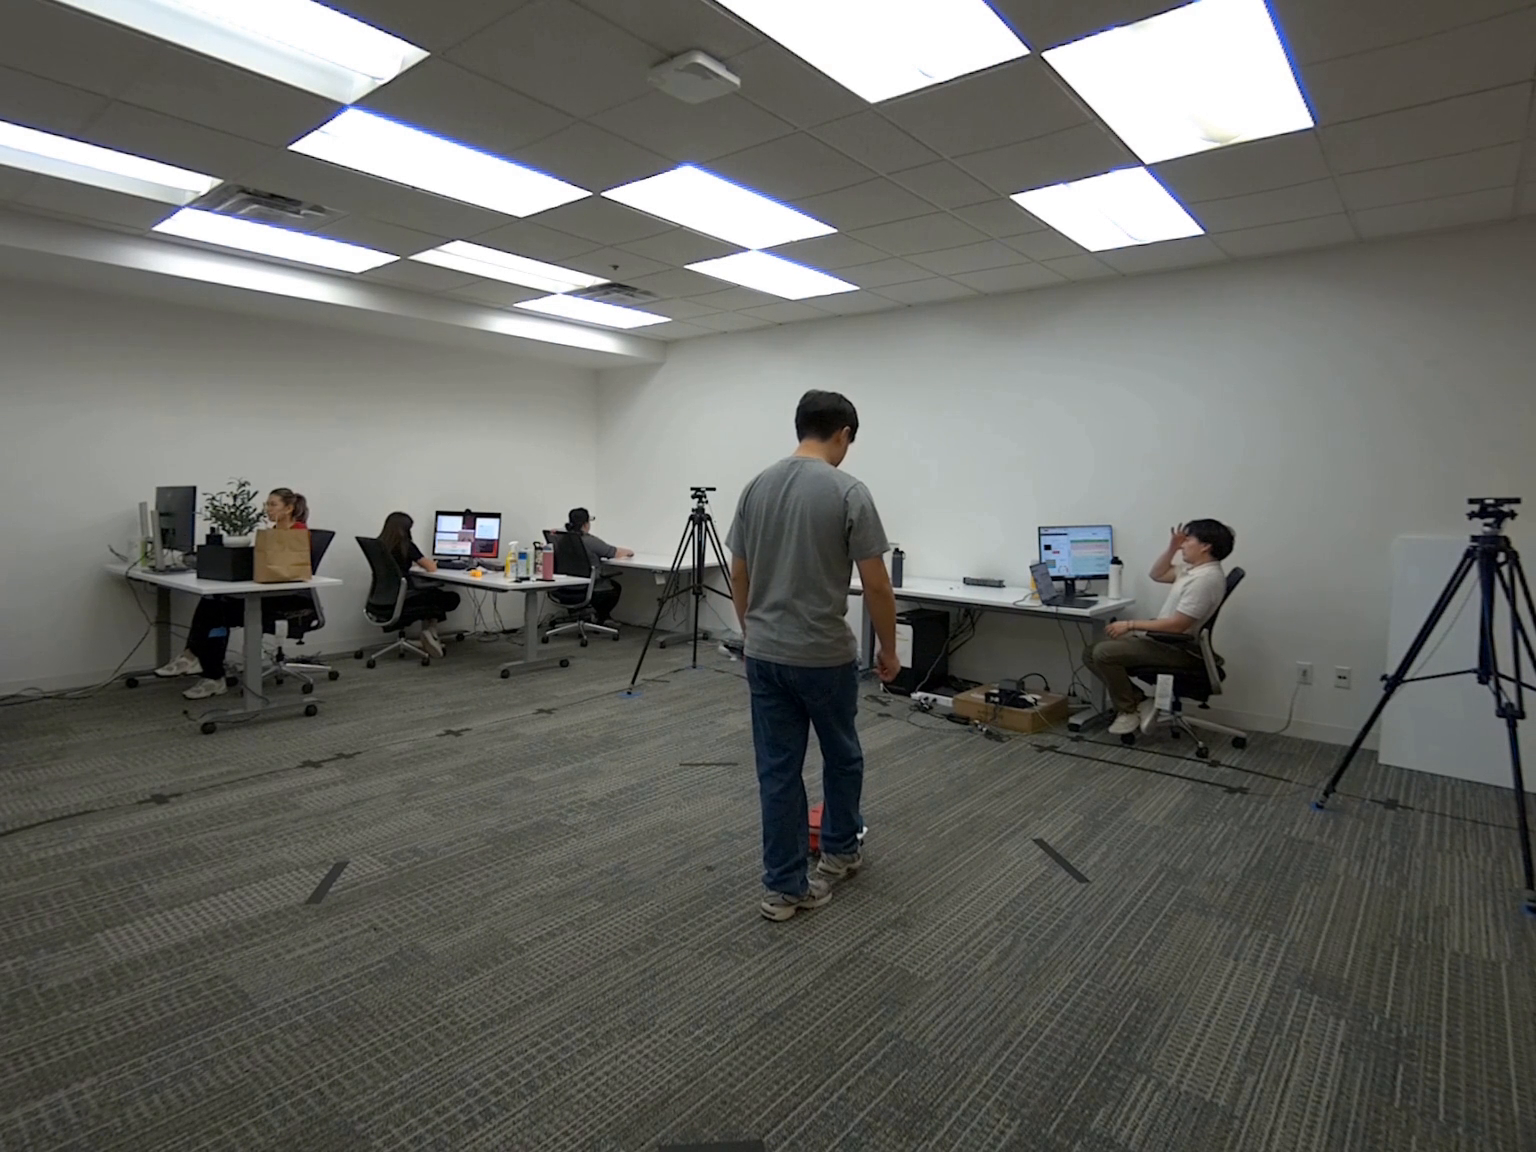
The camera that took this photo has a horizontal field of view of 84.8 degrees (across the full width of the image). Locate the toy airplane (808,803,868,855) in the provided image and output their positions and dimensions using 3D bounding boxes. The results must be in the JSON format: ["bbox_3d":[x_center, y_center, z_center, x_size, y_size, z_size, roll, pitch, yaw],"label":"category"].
[{"bbox_3d":[0.244,0.965,3.262,0.258,0.157,0.251,-14,-1,-4],"label":"toy airplane"}]
